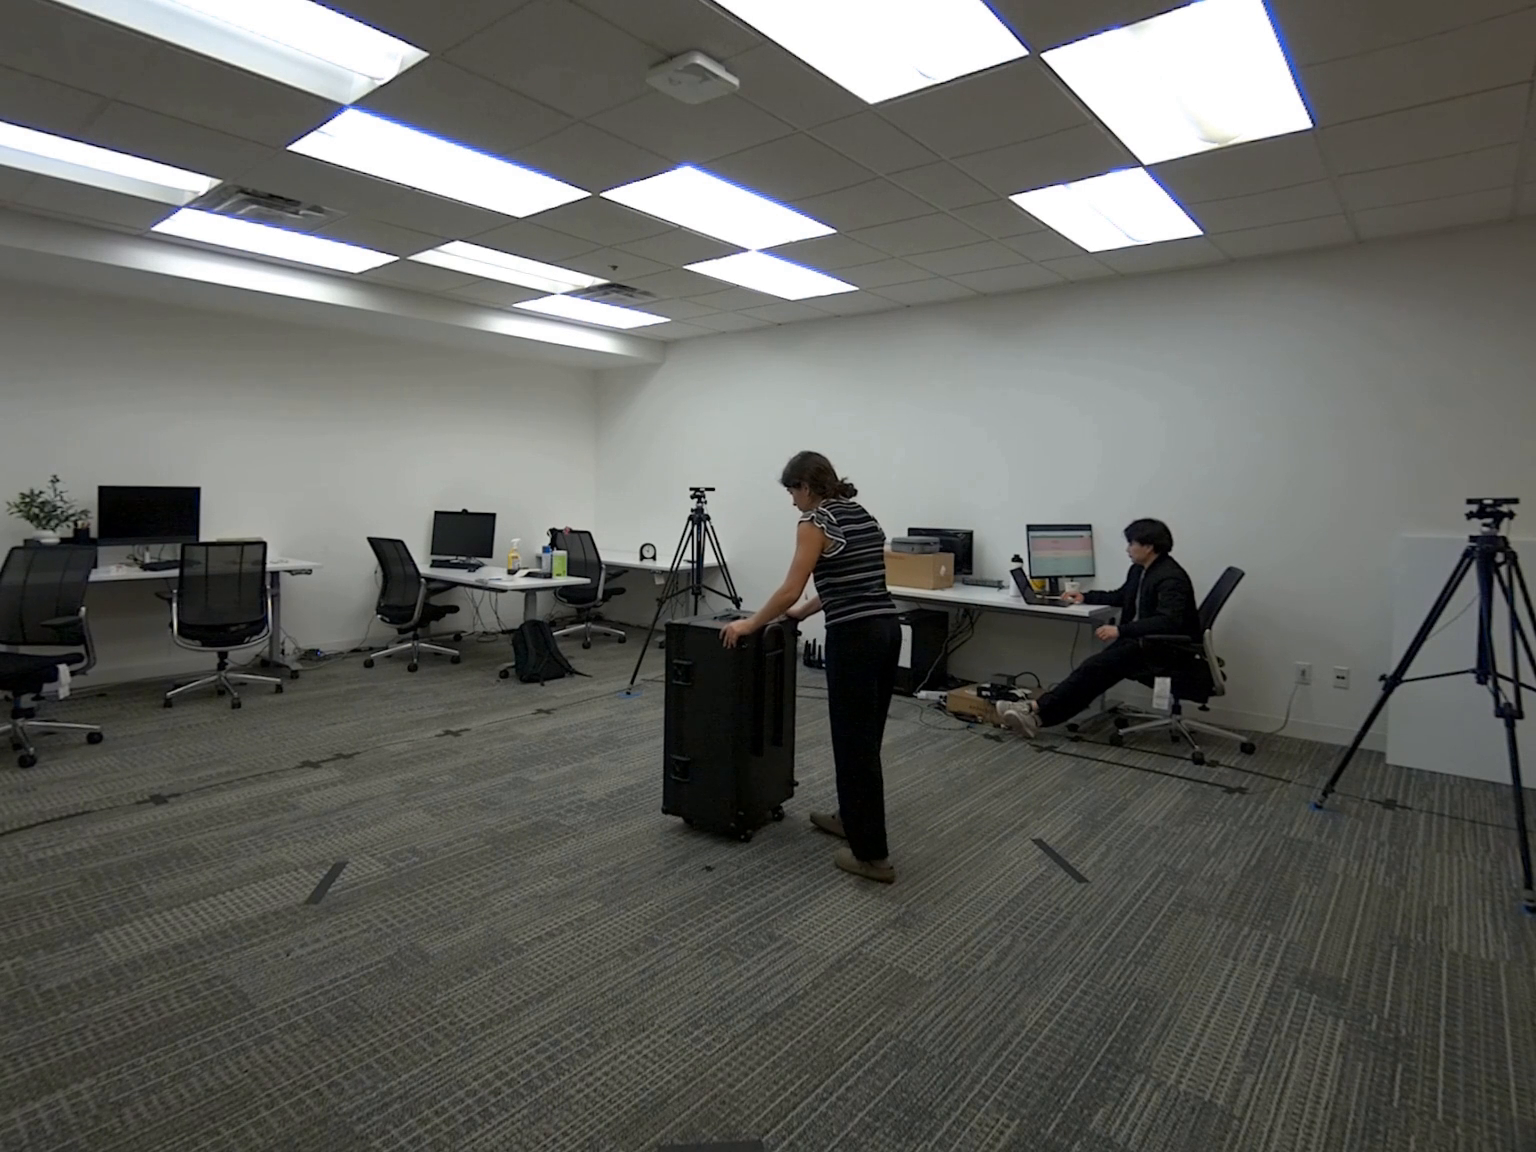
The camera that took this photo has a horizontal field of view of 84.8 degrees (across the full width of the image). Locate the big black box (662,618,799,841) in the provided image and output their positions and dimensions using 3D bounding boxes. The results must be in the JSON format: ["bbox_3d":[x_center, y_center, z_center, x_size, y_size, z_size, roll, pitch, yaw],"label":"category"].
[{"bbox_3d":[-0.153,0.599,3.540,0.408,0.858,0.507,4,5,31],"label":"big black box"}]
